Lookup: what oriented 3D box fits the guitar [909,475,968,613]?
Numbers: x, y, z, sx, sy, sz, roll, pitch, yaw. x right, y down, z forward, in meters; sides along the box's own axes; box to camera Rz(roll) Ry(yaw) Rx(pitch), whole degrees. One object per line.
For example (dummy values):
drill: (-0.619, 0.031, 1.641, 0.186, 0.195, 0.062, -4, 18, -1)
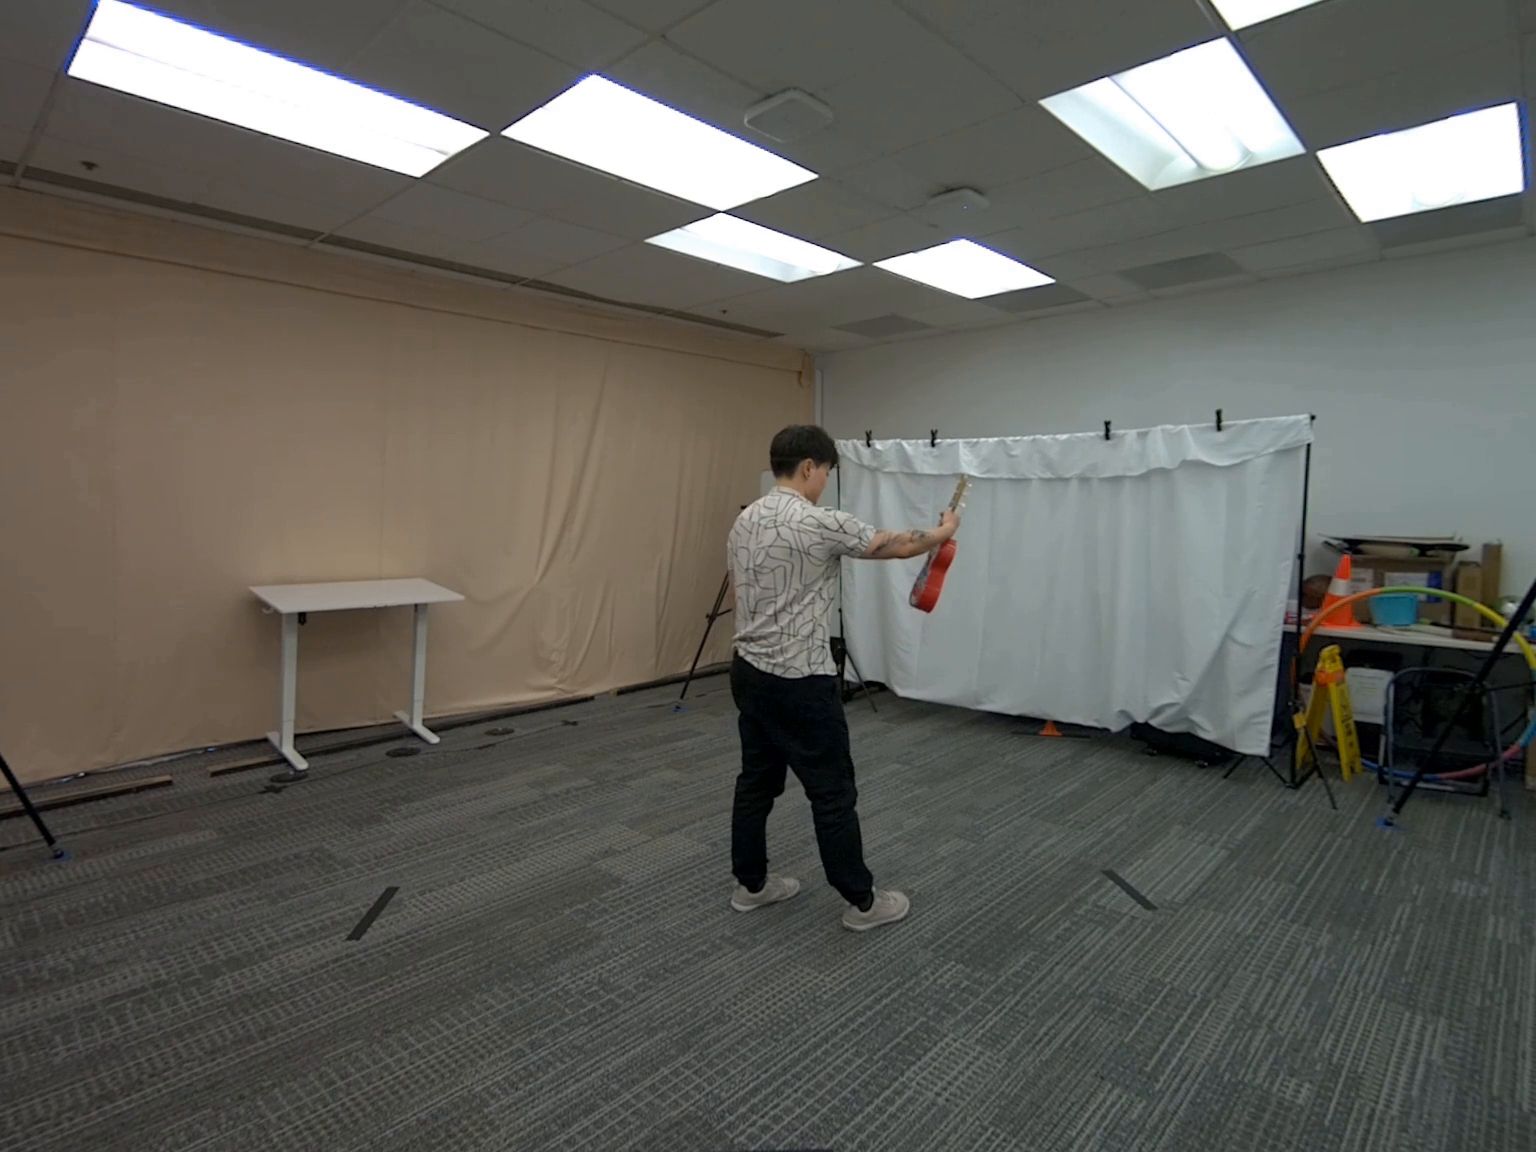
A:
guitar: (0.629, -0.102, 2.962, 0.071, 0.496, 0.193, 21, 16, -1)
